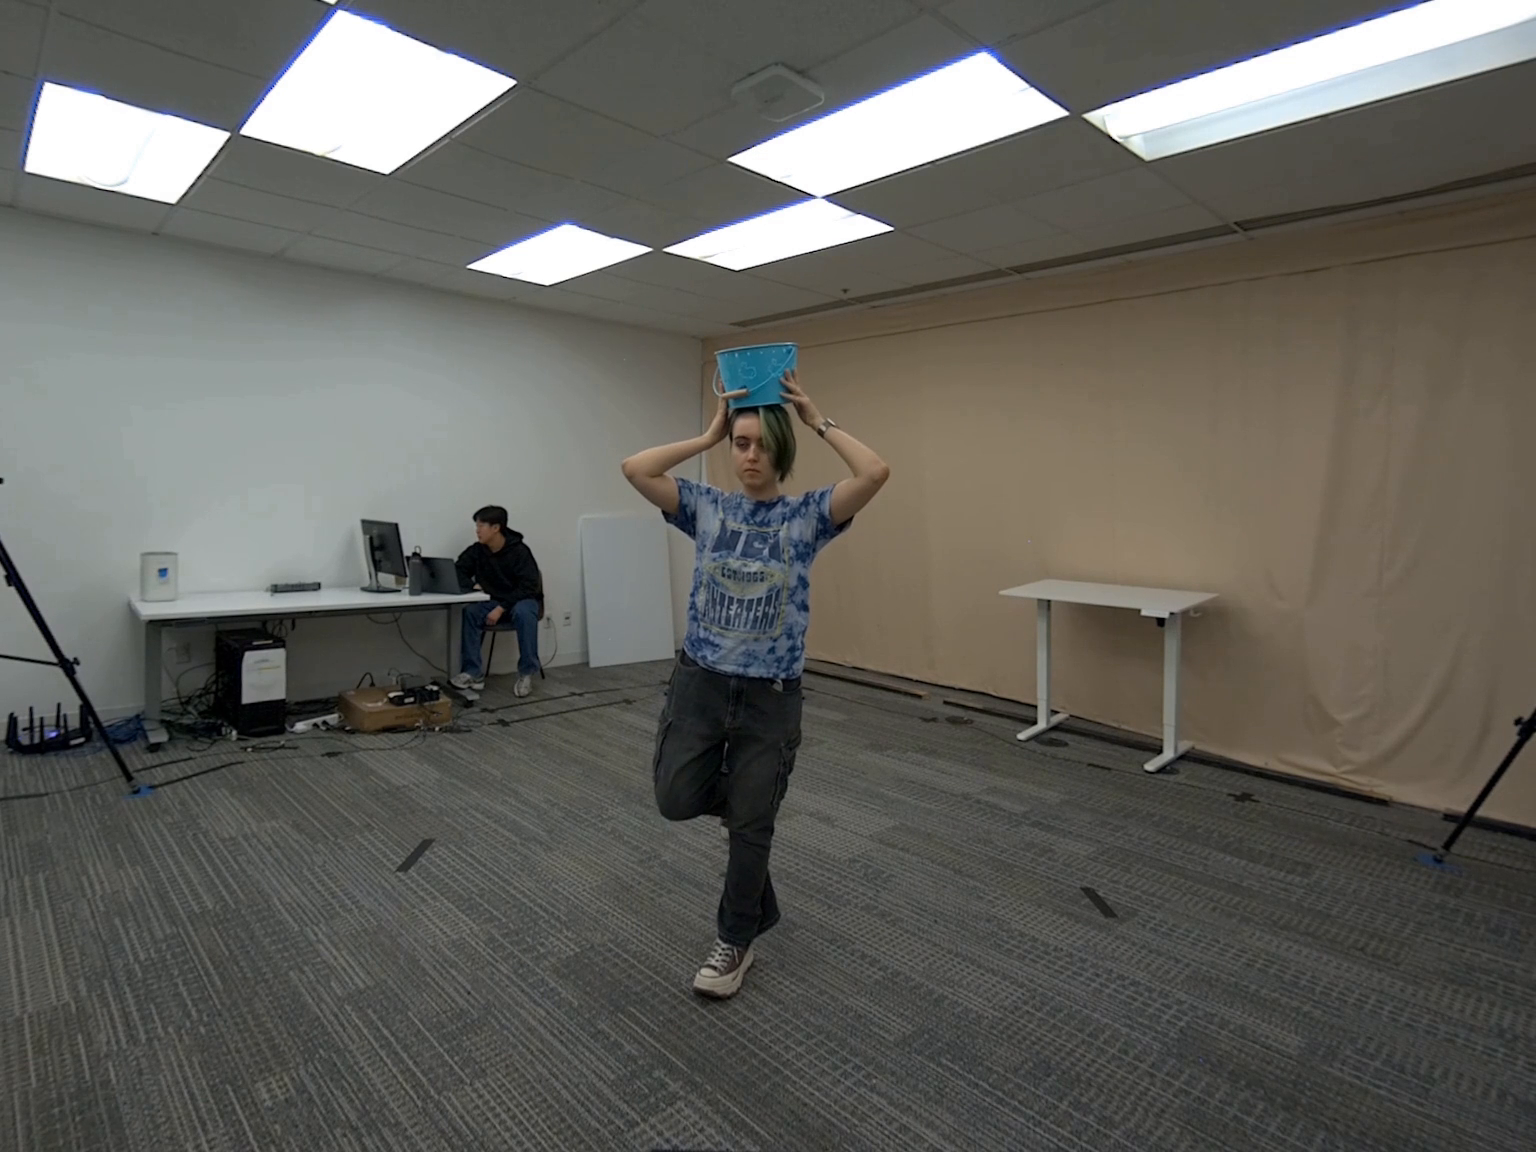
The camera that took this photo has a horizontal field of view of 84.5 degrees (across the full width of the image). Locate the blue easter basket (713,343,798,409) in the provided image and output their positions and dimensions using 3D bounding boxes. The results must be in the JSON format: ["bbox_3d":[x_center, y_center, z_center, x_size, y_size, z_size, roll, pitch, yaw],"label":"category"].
[{"bbox_3d":[-0.029,-0.536,2.284,0.243,0.154,0.246,-4,12,-1],"label":"blue easter basket"}]
